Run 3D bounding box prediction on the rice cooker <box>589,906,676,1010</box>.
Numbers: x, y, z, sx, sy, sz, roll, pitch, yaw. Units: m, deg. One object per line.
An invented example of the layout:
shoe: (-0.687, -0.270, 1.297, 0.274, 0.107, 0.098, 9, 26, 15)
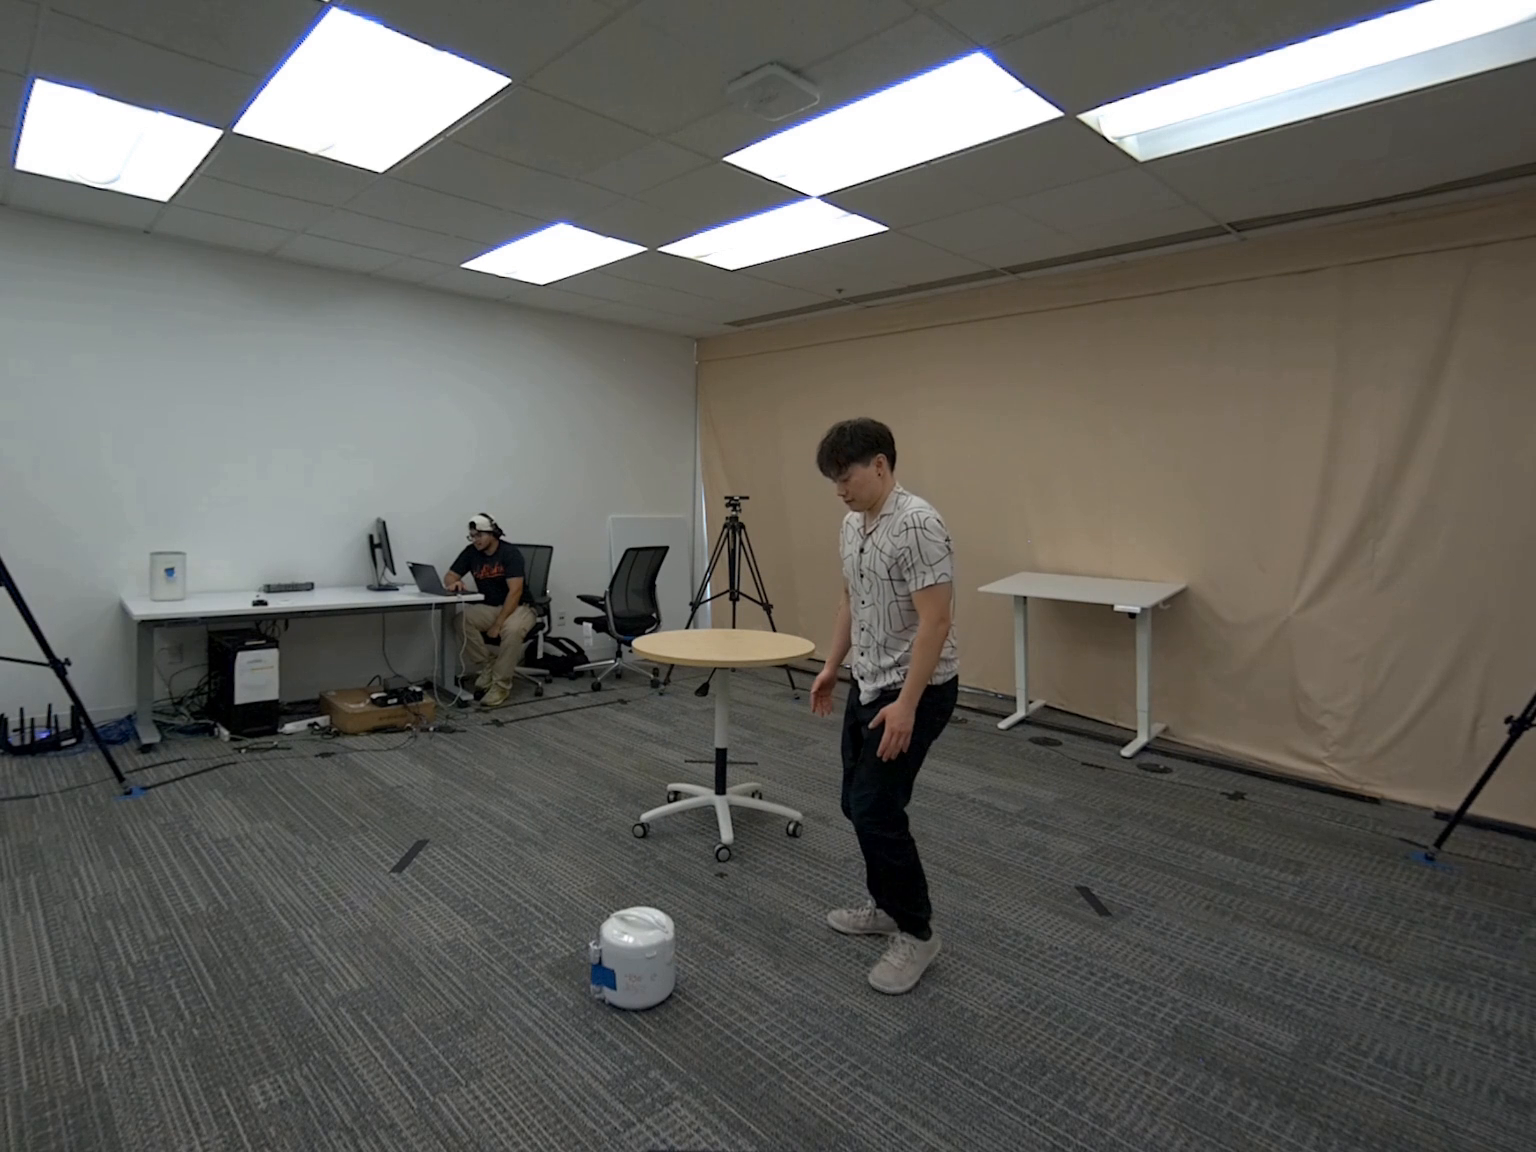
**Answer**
rice cooker: (-0.364, 1.046, 2.356, 0.225, 0.232, 0.214, 3, 5, 24)
